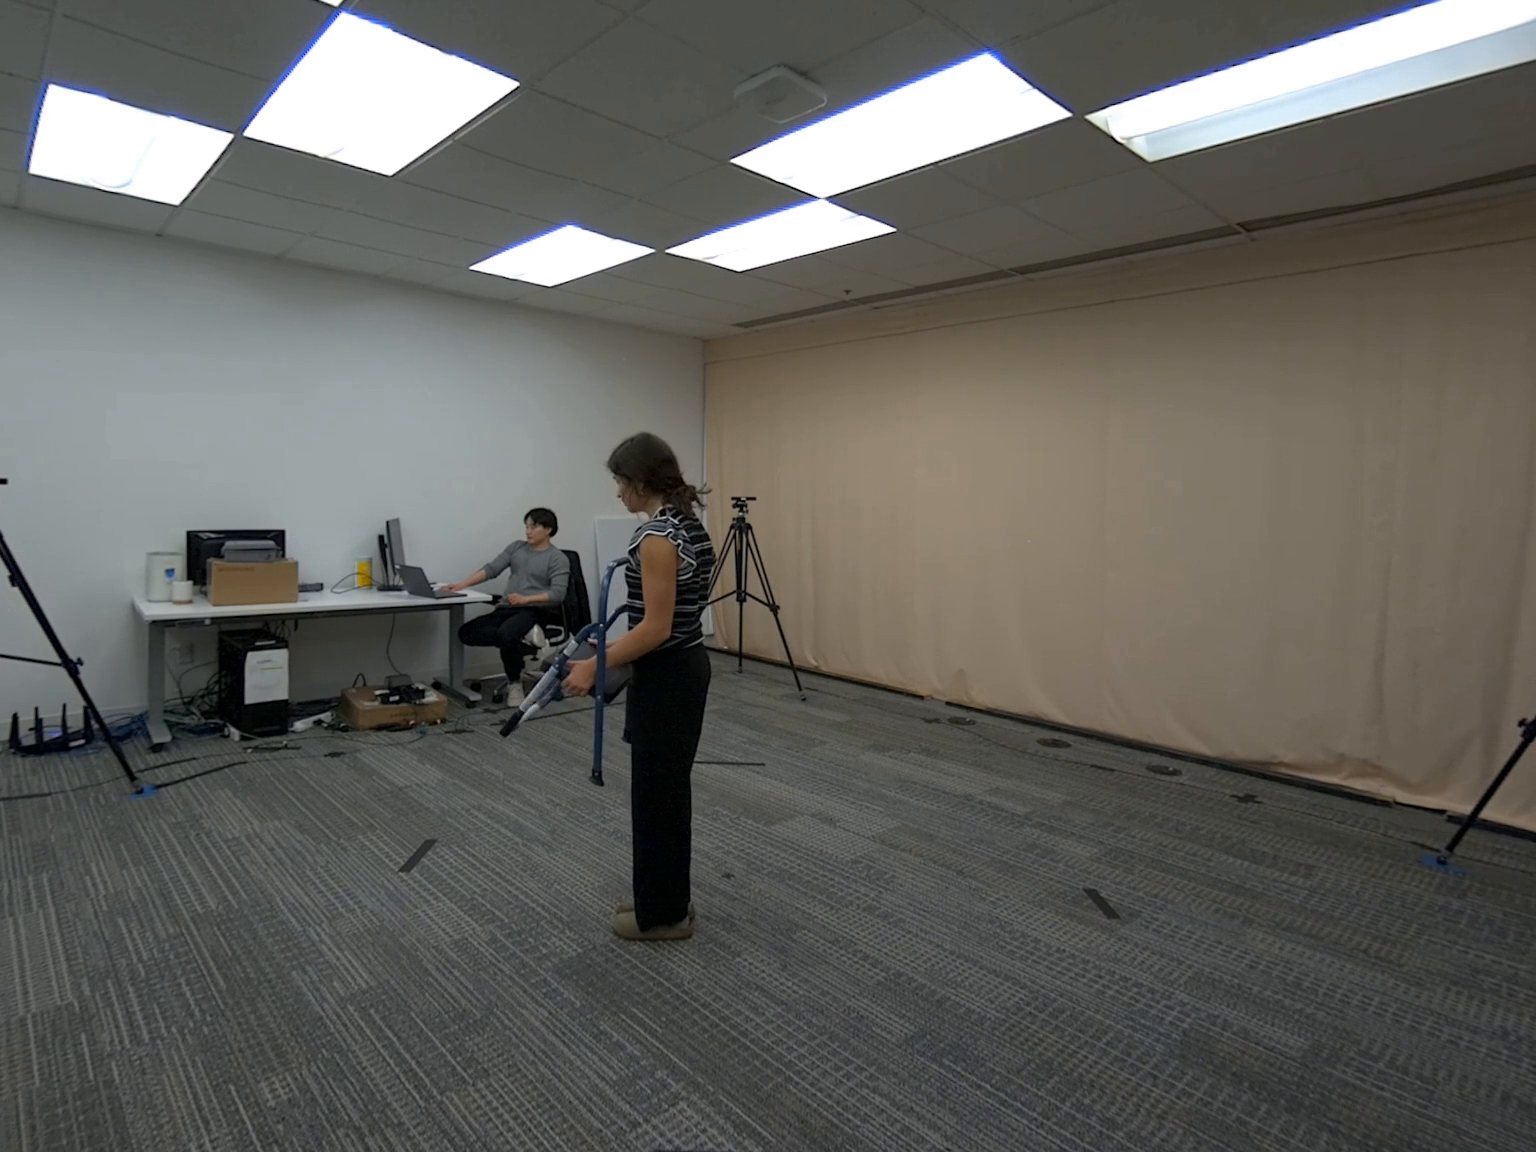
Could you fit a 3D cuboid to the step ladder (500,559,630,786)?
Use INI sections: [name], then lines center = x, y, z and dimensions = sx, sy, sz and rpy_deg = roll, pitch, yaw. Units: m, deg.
[step ladder]
center = -0.519, 0.250, 2.672
dimensions = 0.350, 0.605, 0.430
rpy_deg = 23, 5, 1
